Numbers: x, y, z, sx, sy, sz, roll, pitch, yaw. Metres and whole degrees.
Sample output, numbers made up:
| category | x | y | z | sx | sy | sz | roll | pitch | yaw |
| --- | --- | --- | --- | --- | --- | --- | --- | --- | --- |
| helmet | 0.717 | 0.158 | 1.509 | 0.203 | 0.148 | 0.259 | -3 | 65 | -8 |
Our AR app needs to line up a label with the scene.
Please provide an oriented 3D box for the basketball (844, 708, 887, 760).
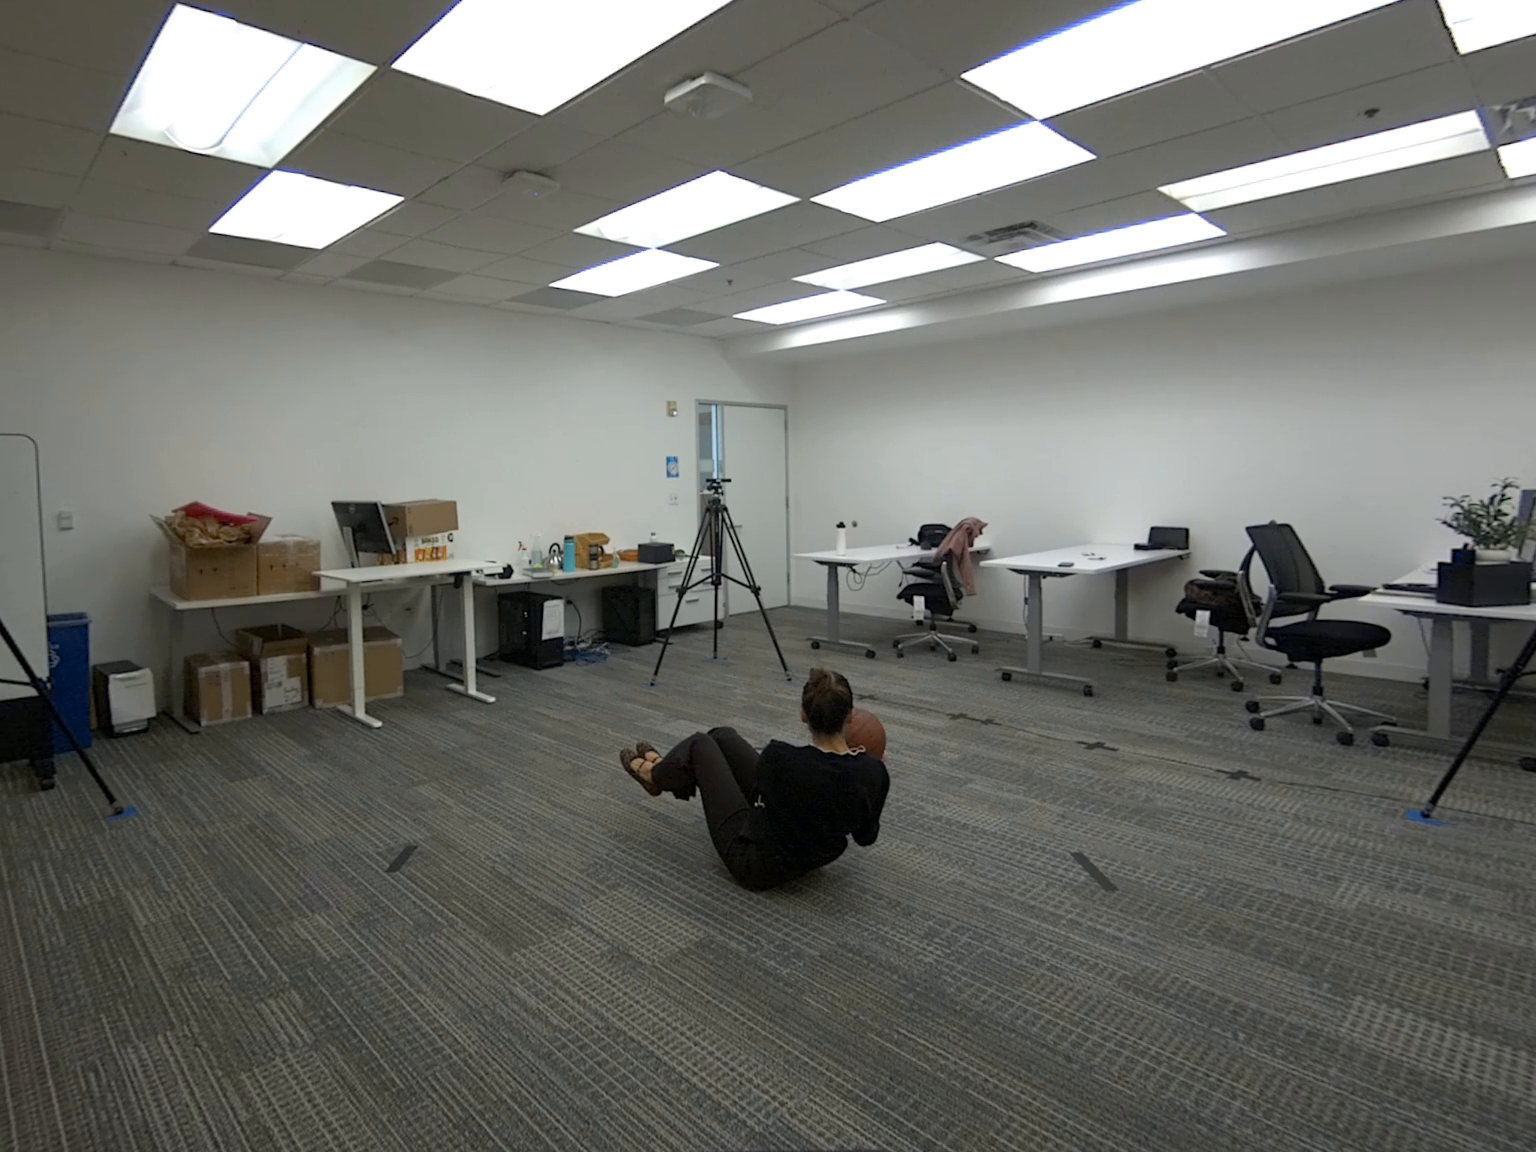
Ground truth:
| category | x | y | z | sx | sy | sz | roll | pitch | yaw |
| --- | --- | --- | --- | --- | --- | --- | --- | --- | --- |
| basketball | 0.329 | 0.618 | 3.238 | 0.236 | 0.235 | 0.237 | -1 | 5 | -2 |
